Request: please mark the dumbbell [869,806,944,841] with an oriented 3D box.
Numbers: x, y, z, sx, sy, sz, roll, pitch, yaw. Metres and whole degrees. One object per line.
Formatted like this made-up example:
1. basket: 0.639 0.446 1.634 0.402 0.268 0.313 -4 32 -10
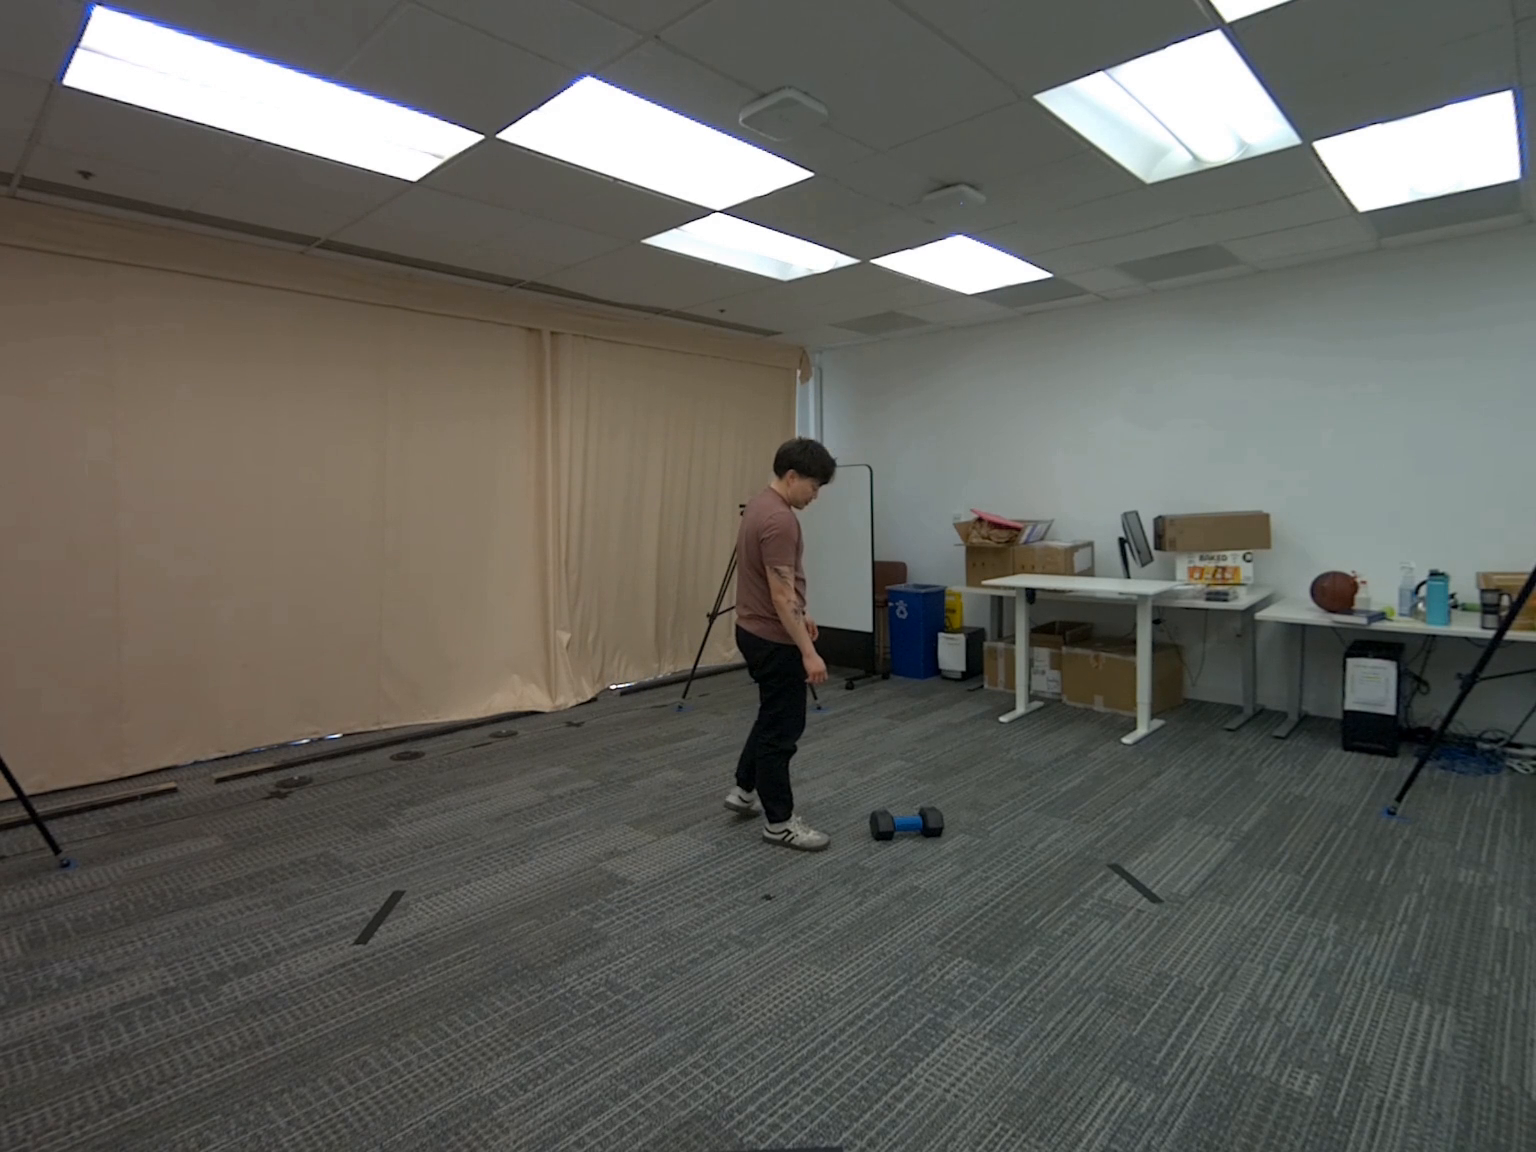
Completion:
1. dumbbell: 0.585 1.036 3.501 0.291 0.108 0.124 -2 2 -7
